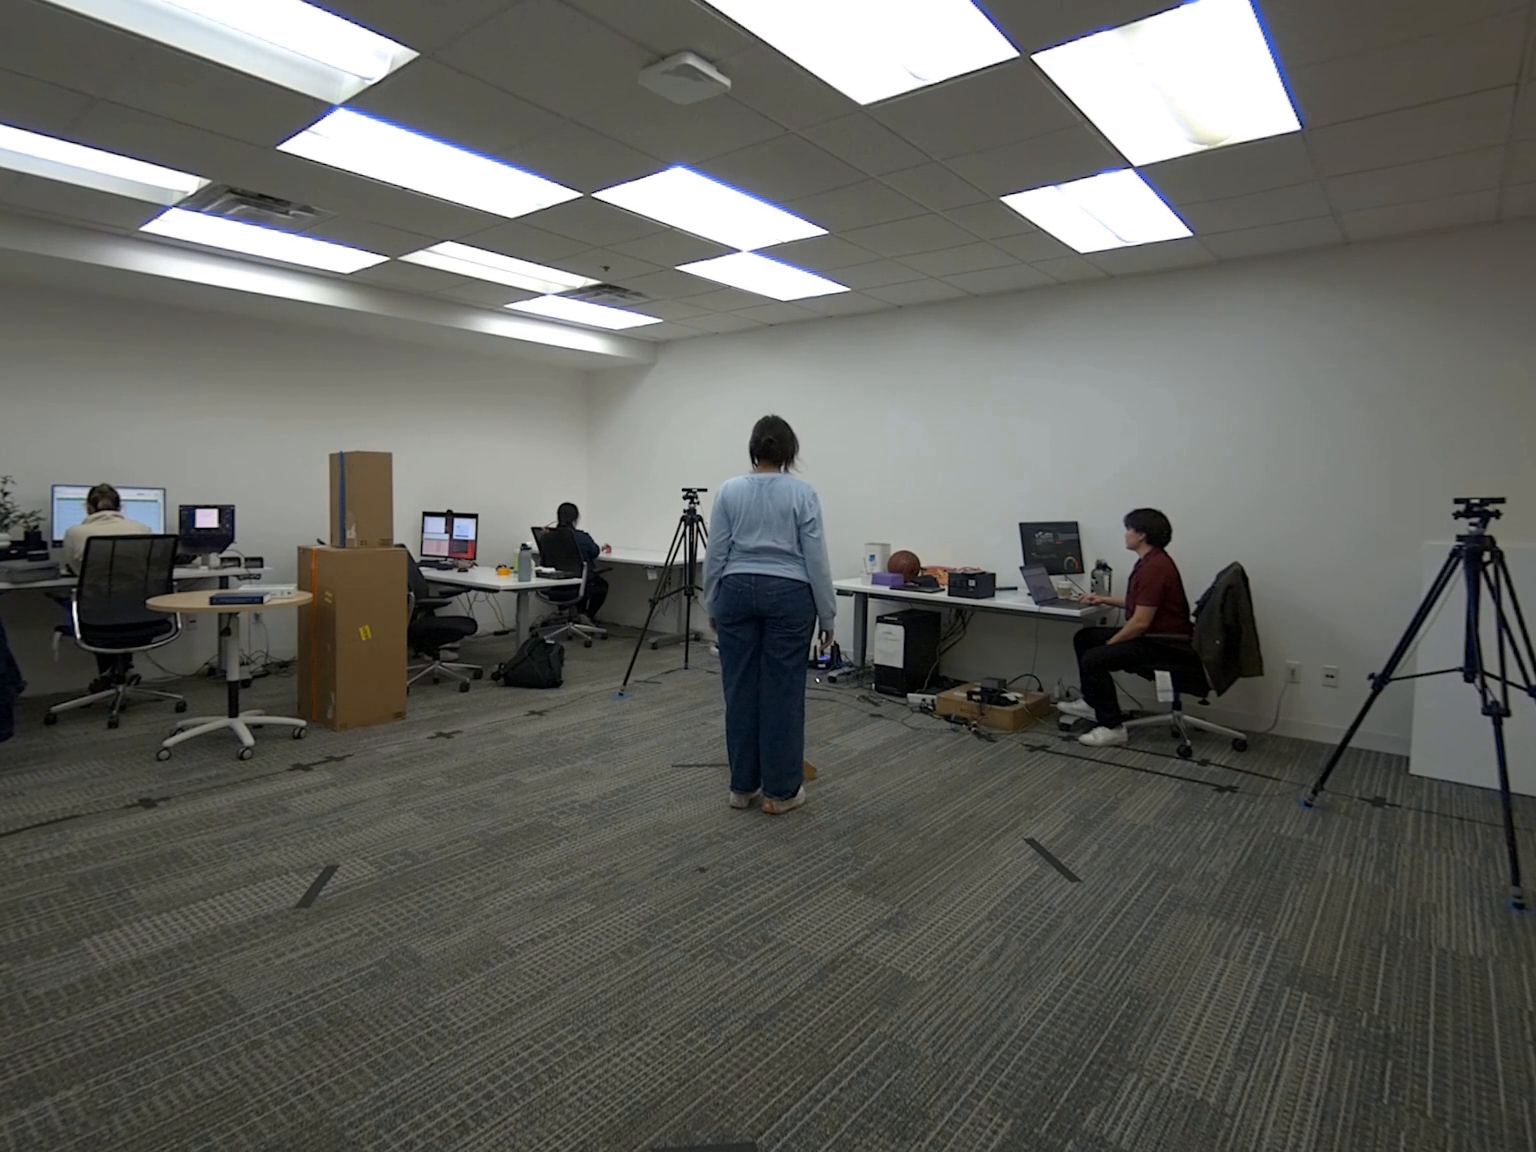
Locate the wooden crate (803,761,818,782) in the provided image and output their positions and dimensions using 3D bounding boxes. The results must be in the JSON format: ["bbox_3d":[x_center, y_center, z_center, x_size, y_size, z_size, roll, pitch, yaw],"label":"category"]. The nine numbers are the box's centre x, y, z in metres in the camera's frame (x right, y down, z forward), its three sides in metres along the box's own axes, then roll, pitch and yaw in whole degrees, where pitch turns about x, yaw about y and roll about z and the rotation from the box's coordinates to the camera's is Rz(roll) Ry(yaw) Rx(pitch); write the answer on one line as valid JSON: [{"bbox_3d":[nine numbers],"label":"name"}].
[{"bbox_3d":[0.054,0.827,4.236,0.298,0.272,0.330,-1,5,-15],"label":"wooden crate"}]
